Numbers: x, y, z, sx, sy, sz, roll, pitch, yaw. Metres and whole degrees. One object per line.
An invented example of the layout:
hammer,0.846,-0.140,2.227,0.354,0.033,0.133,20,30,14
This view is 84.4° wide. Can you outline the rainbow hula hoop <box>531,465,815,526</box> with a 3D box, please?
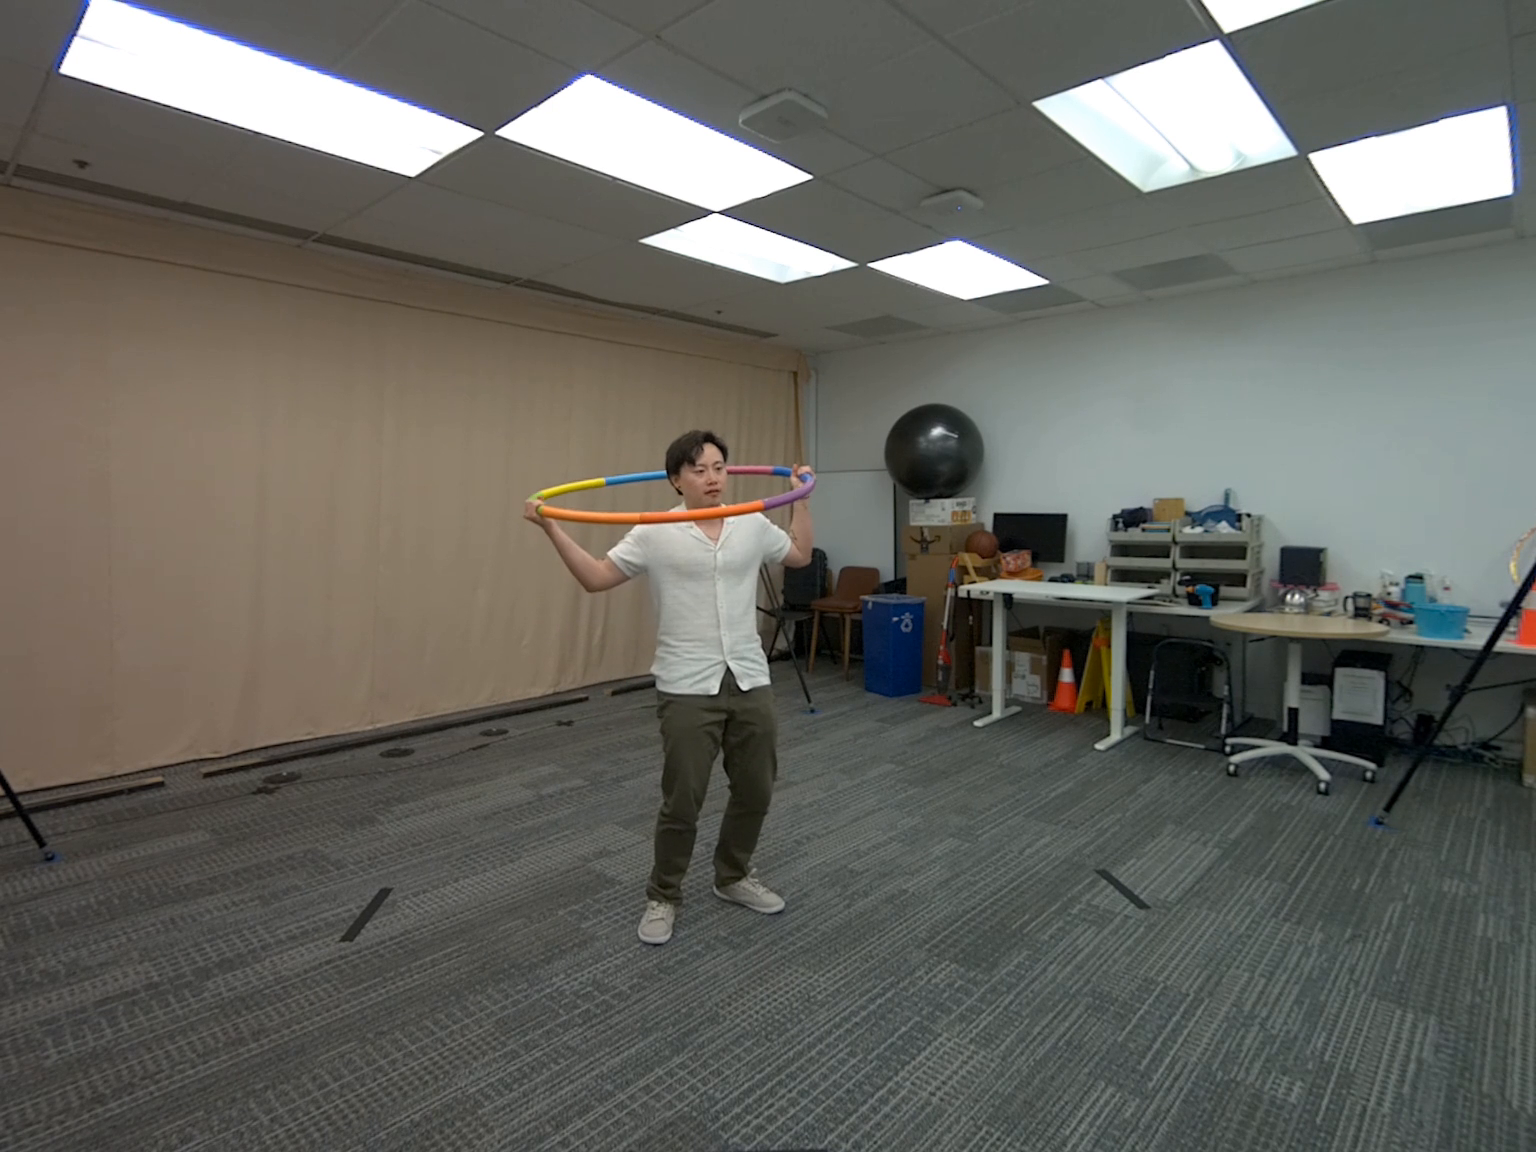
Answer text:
rainbow hula hoop,-0.316,-0.292,2.909,0.979,0.035,0.988,-5,15,-1
